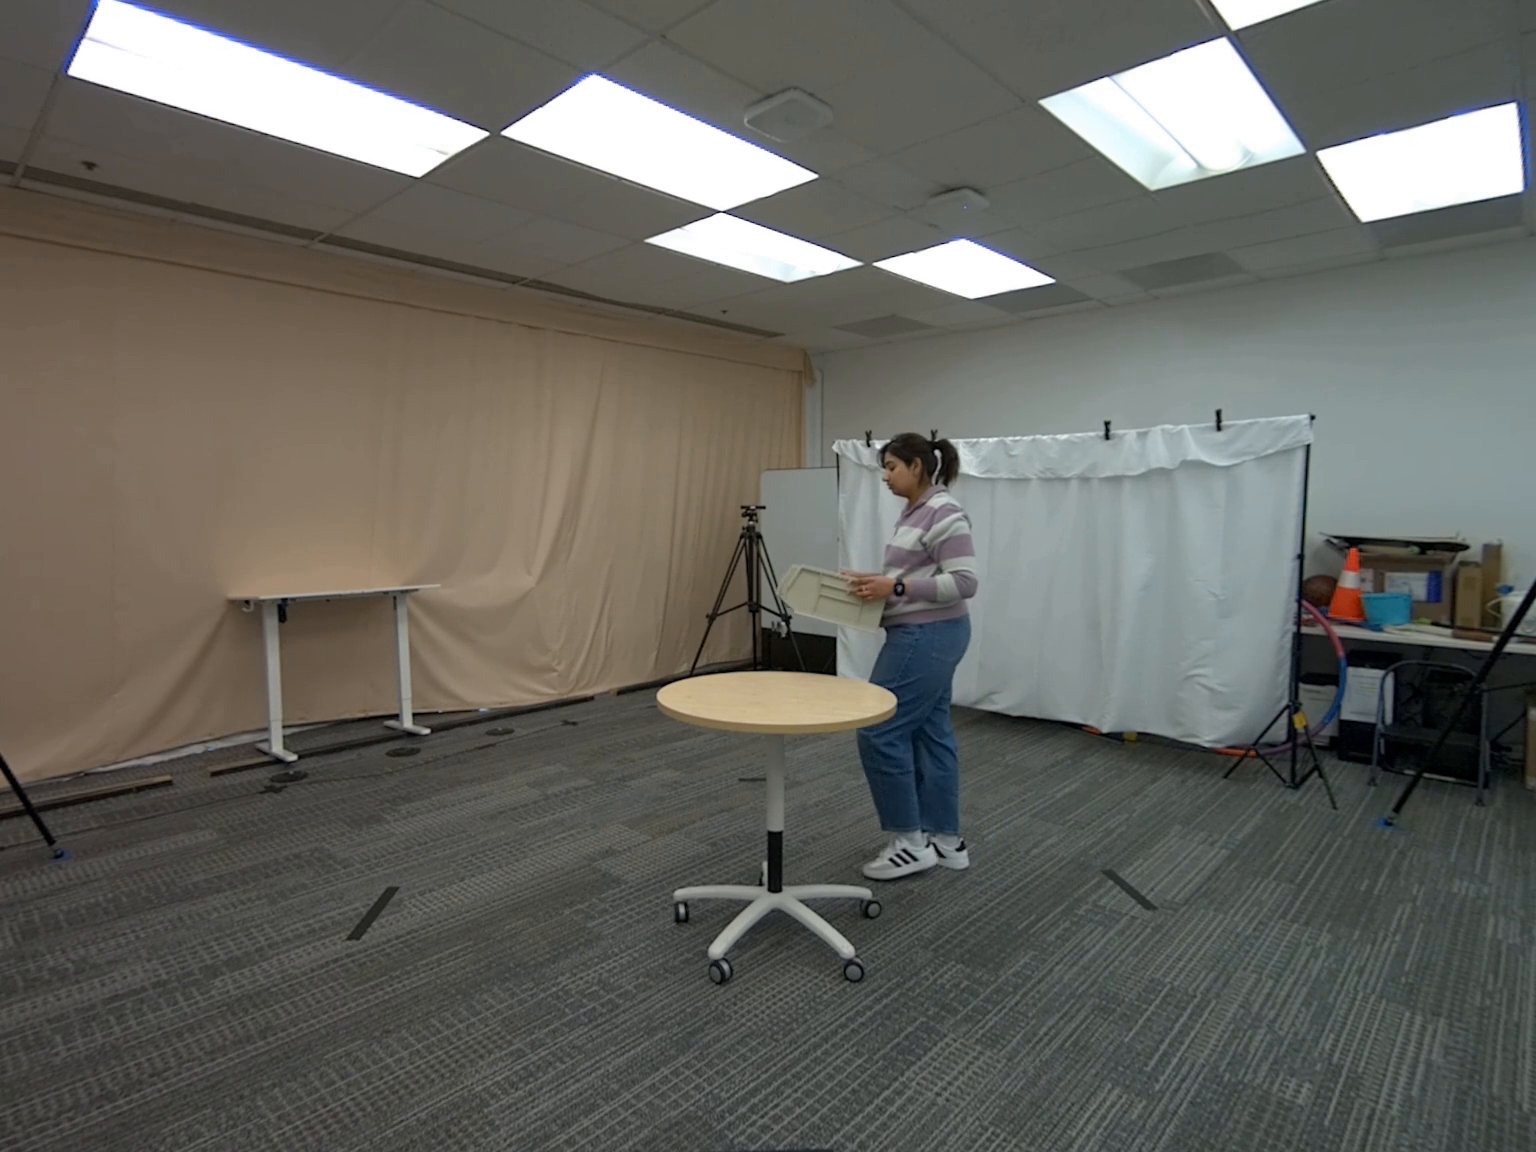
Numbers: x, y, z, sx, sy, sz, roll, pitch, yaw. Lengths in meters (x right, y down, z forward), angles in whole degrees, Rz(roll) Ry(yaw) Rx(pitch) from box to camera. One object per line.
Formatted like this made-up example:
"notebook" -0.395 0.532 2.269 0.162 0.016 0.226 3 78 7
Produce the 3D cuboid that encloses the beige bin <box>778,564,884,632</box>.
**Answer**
"beige bin" 0.227 0.083 3.261 0.377 0.189 0.423 15 0 -2
